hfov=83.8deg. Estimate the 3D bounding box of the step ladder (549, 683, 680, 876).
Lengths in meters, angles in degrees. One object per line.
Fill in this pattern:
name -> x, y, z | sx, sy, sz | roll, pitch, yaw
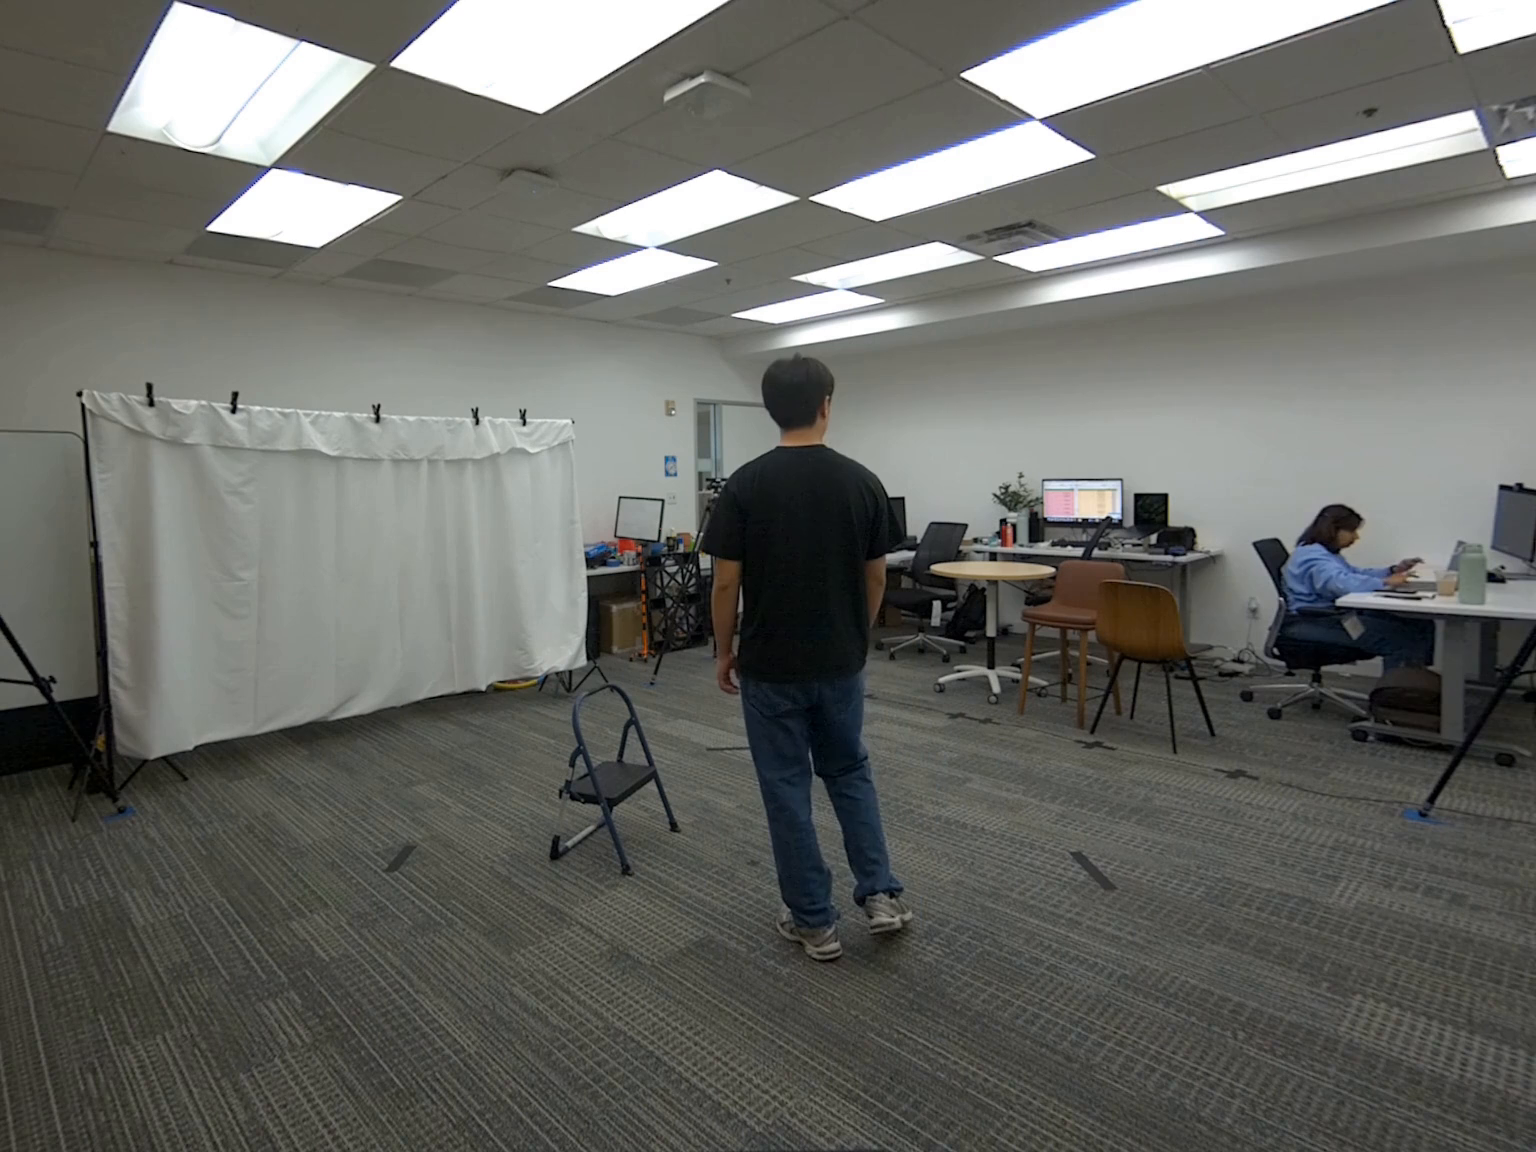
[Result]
step ladder -> -0.584, 0.731, 3.263 | 0.356, 0.604, 0.424 | 1, 4, 20
